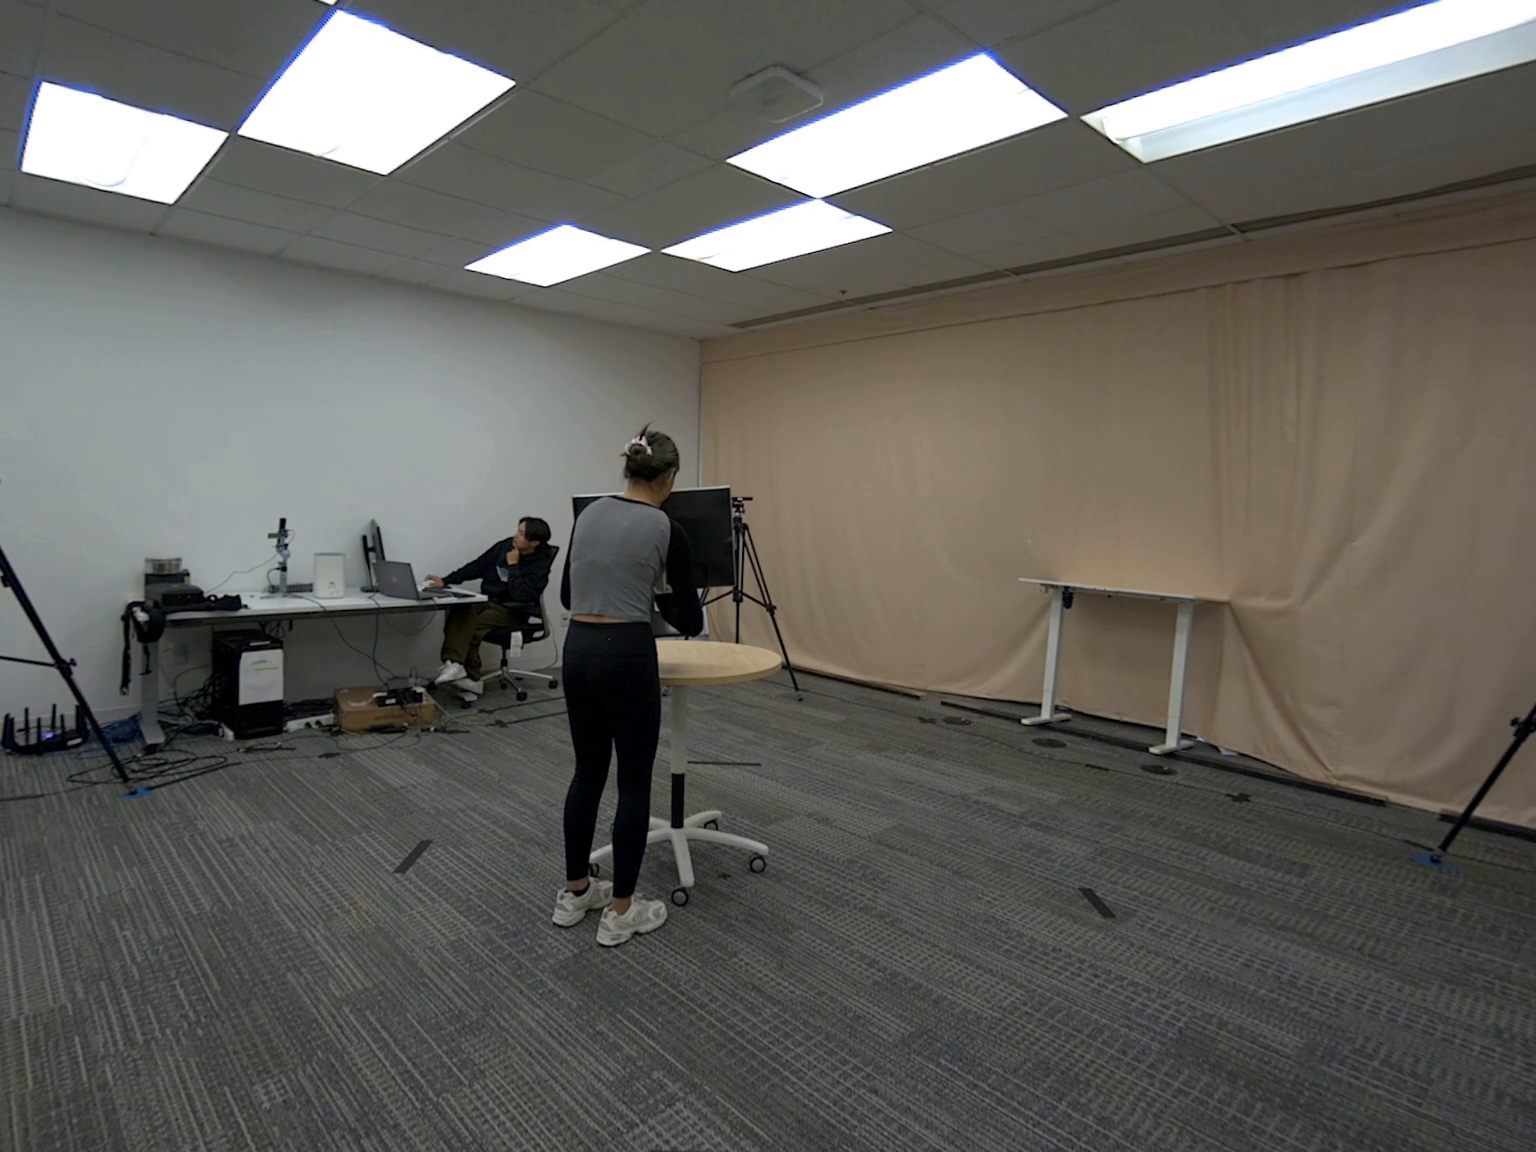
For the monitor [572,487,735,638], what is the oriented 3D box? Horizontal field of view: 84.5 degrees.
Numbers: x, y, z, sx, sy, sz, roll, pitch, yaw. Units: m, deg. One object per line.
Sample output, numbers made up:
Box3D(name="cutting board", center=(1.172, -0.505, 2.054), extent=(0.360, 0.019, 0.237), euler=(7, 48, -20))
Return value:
Box3D(name="monitor", center=(-0.388, -0.037, 2.941), extent=(0.537, 0.523, 0.187), euler=(-5, -1, -5))
